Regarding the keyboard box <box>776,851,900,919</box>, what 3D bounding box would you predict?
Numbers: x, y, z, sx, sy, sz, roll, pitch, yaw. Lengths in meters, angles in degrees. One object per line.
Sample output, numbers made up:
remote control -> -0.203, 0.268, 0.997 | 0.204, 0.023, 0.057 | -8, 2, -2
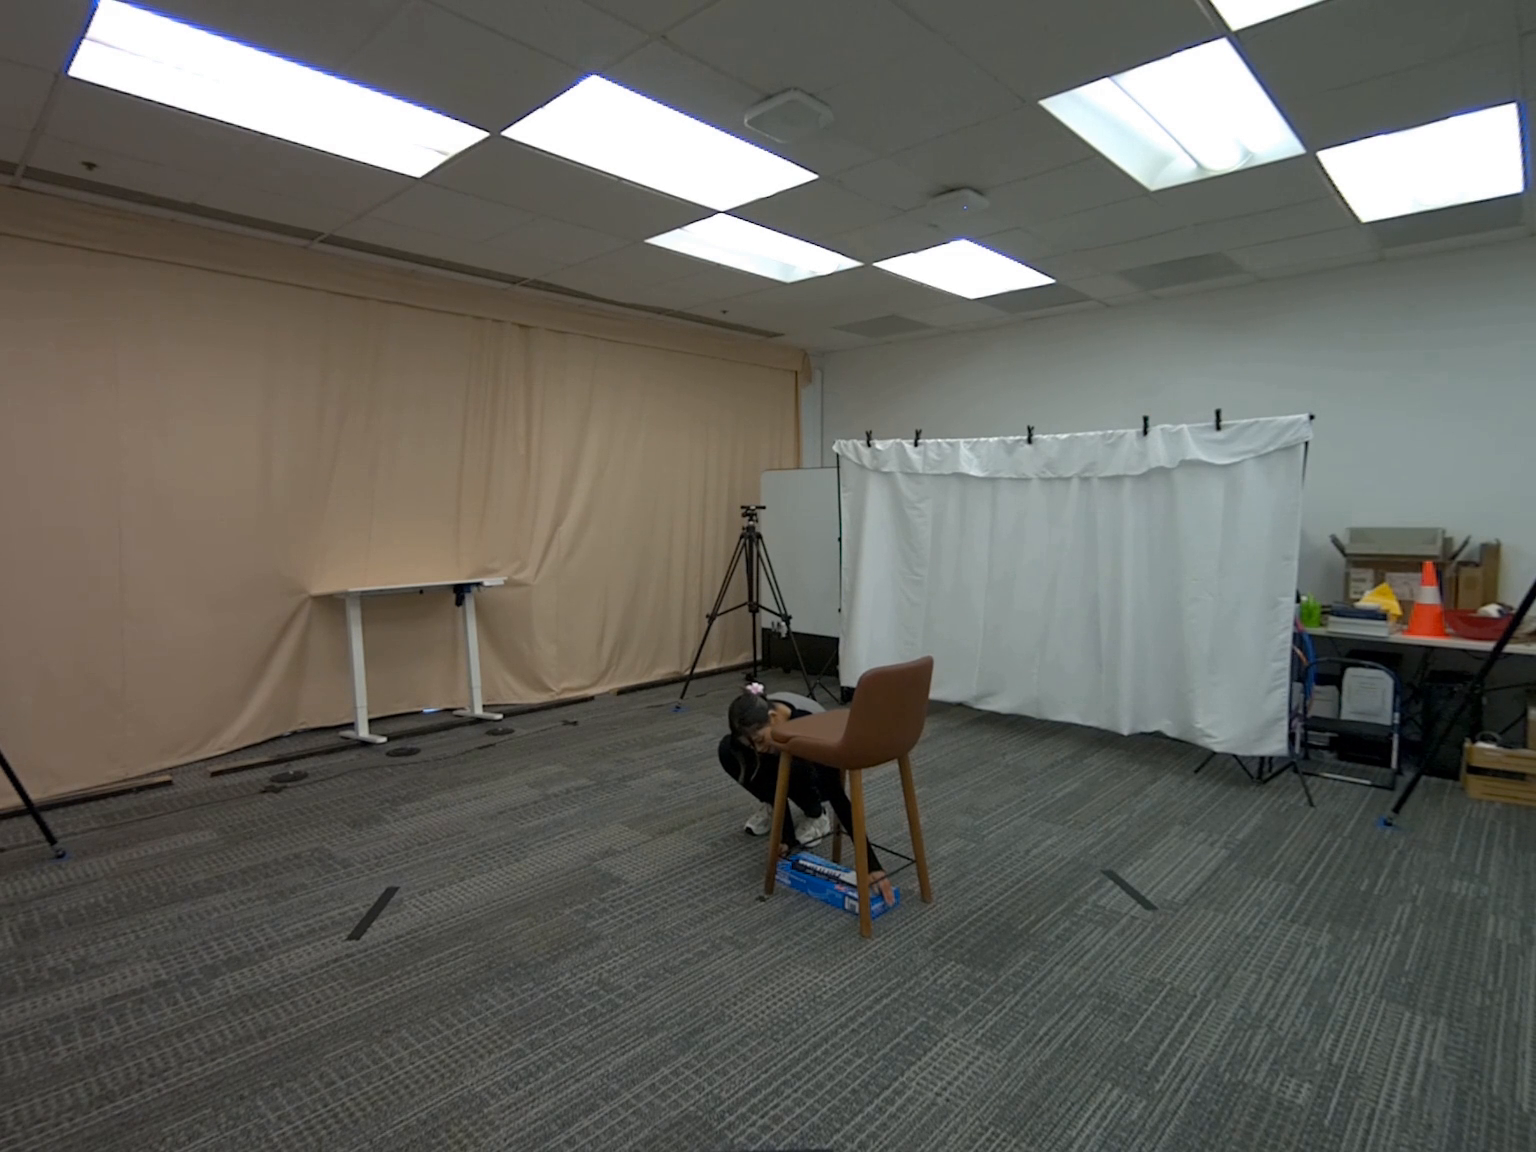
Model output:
keyboard box -> 0.242, 1.102, 3.038 | 0.170, 0.059, 0.452 | -5, 7, -44
